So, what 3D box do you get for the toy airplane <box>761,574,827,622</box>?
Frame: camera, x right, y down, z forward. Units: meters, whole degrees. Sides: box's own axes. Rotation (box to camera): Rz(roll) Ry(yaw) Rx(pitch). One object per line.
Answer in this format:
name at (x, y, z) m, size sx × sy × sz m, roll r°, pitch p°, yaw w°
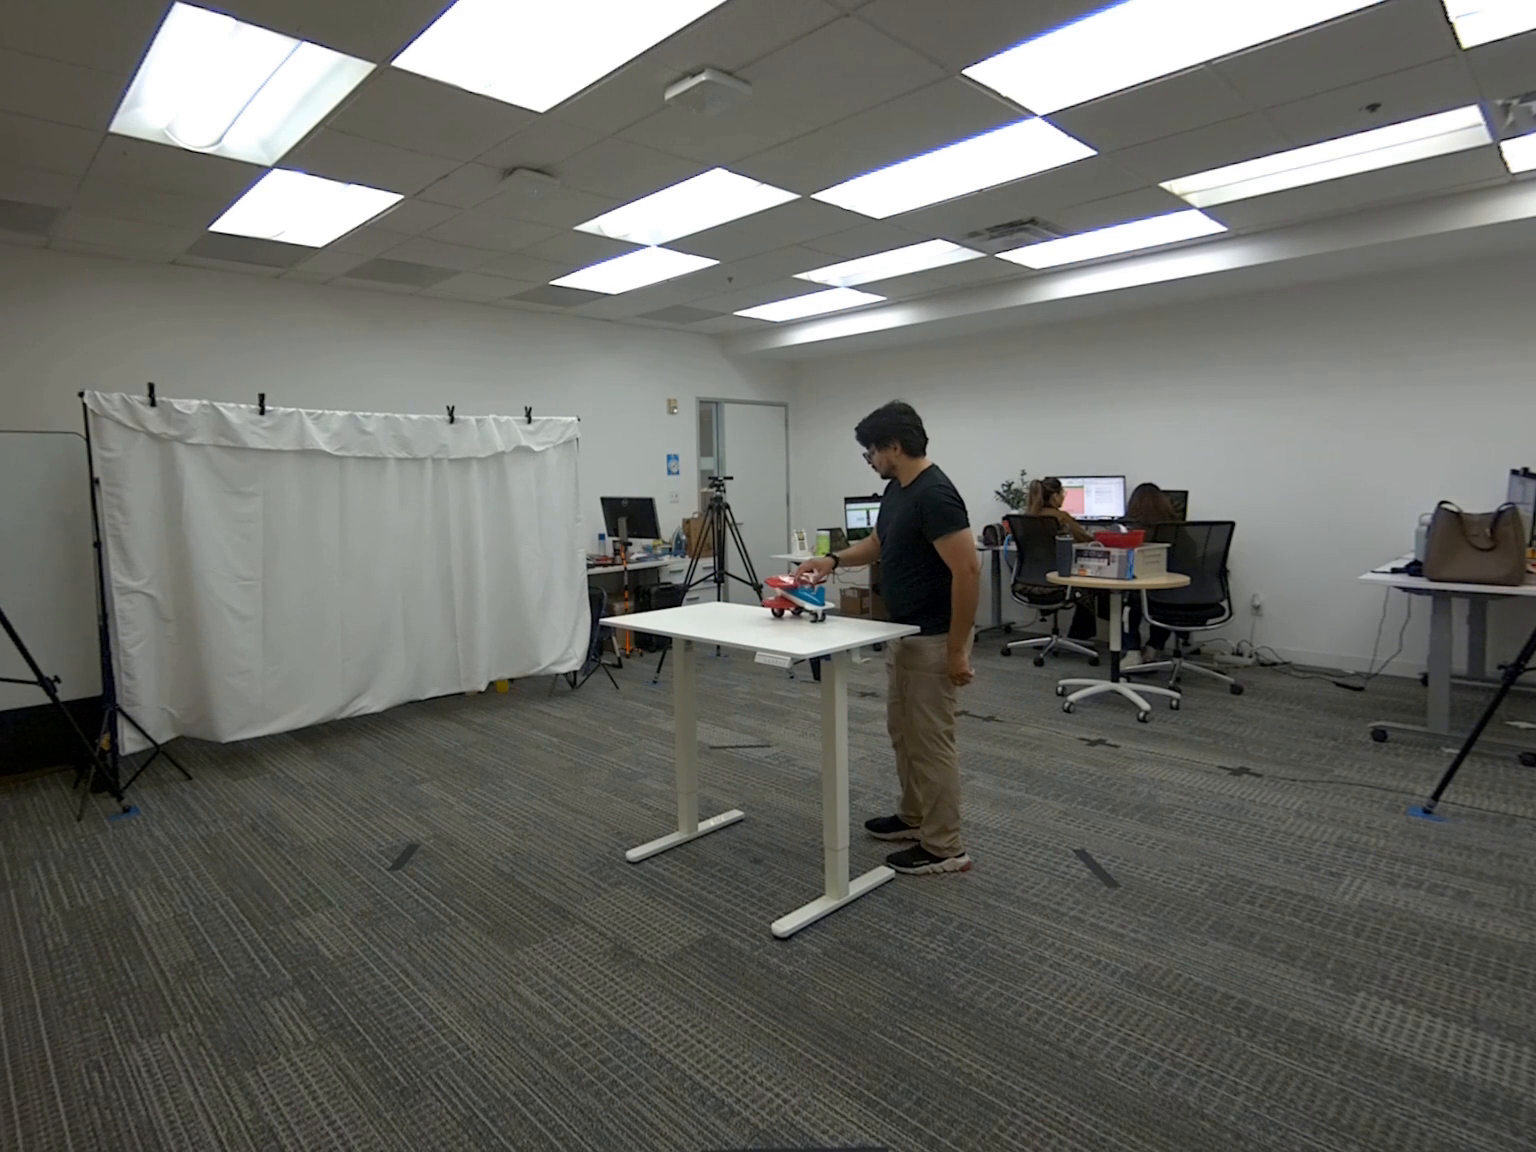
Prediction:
toy airplane at (0.135, 0.074, 3.085) m, size 0.266 × 0.156 × 0.246 m, roll 0°, pitch 6°, yaw 29°
